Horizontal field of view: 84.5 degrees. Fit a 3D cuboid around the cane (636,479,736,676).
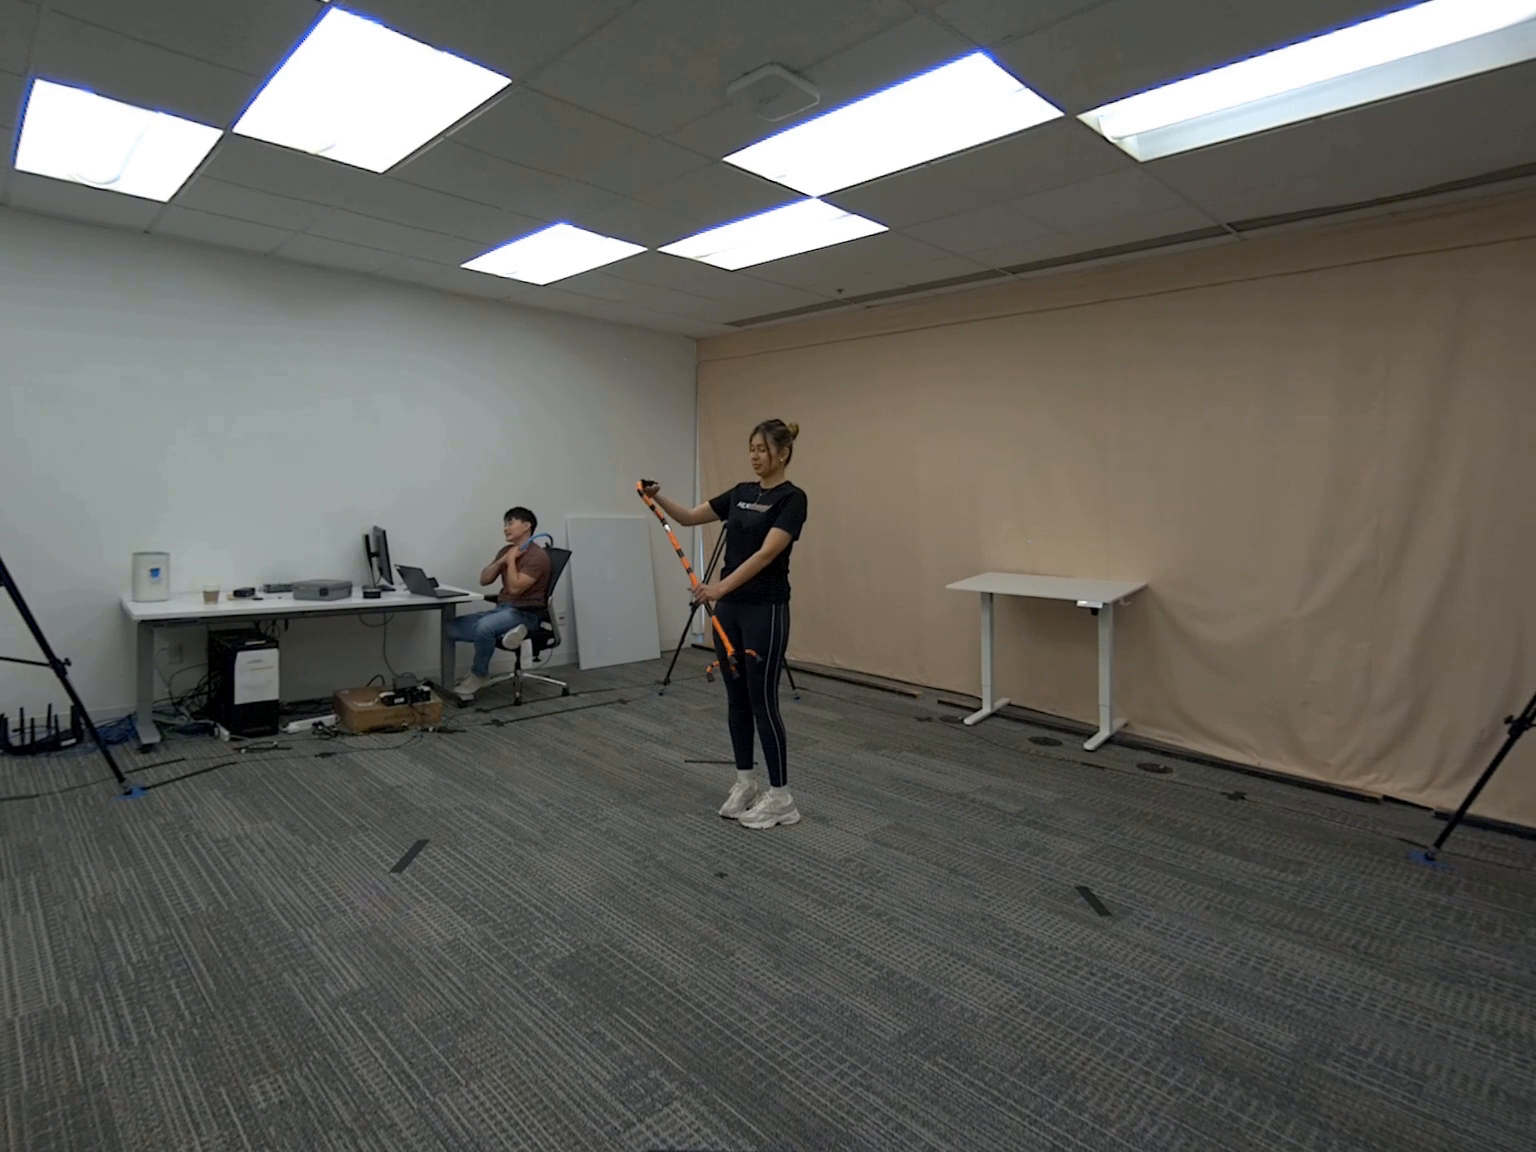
[{"bbox_3d":[-0.338,-0.012,3.395,0.152,0.926,0.201,-38,-22,28],"label":"cane"}]
